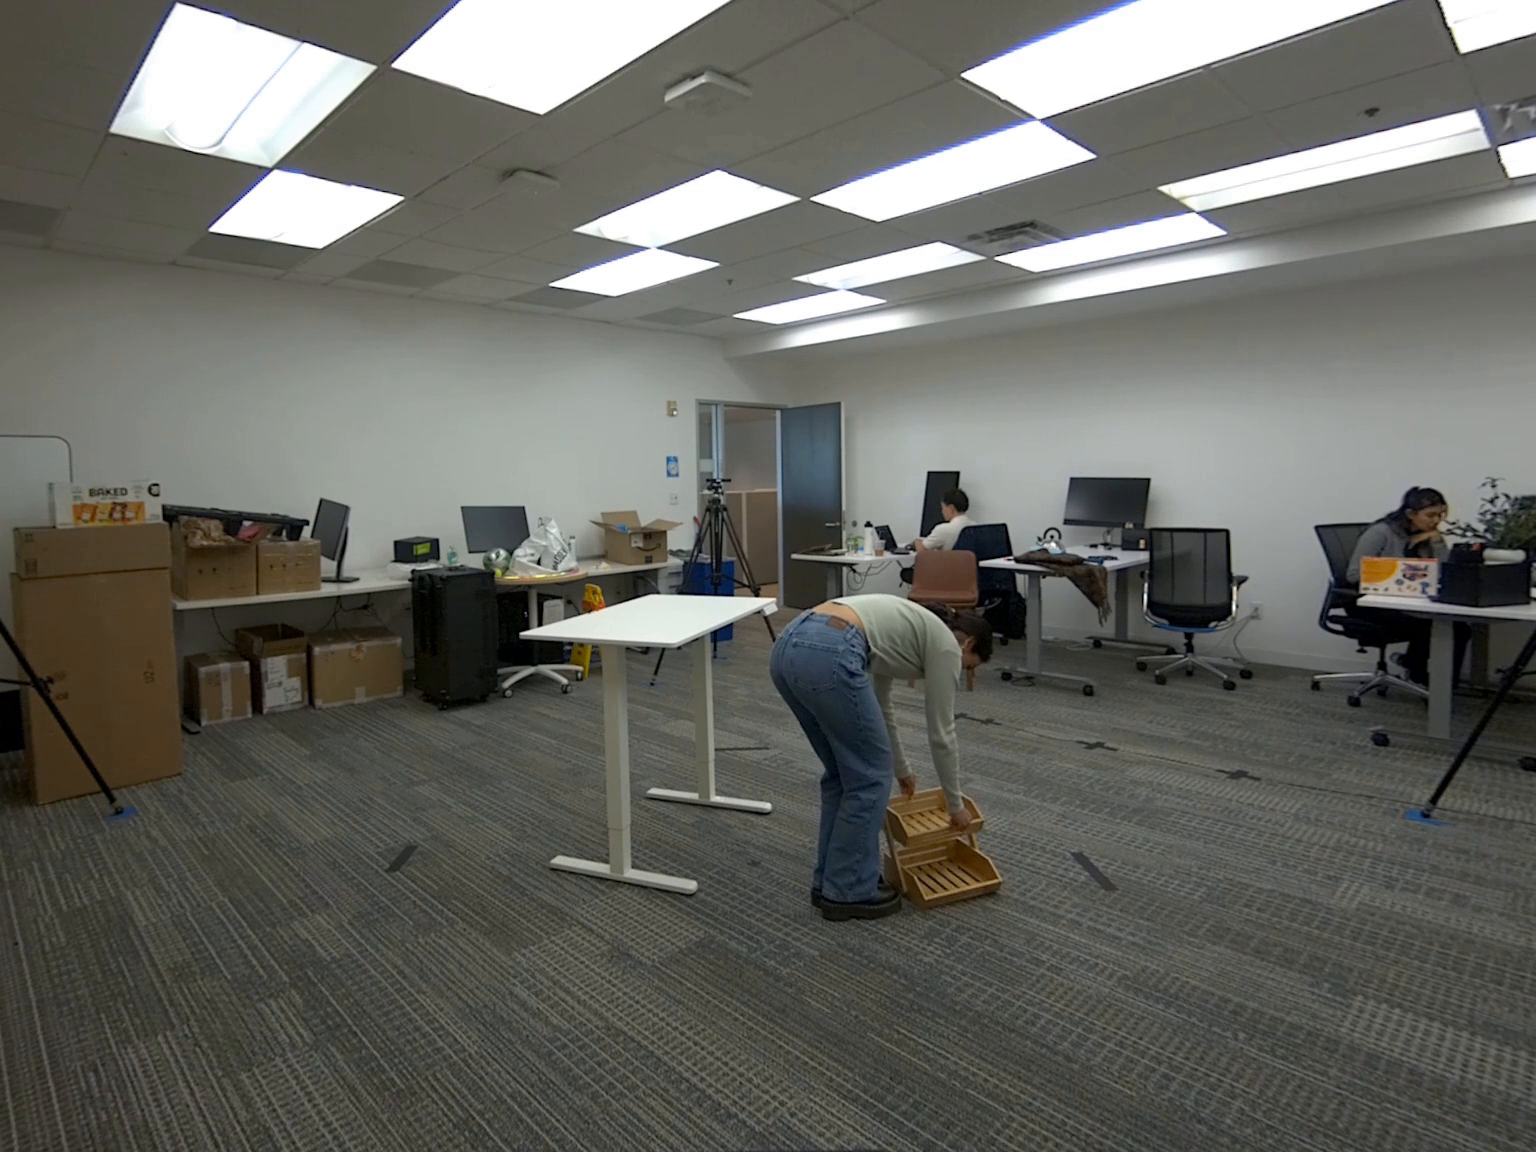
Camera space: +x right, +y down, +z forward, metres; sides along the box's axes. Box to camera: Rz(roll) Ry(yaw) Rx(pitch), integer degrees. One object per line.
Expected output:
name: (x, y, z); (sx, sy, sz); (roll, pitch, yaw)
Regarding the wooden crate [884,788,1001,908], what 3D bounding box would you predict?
wooden crate: (0.582, 0.913, 2.906); (0.318, 0.272, 0.309); (-5, 7, -22)
